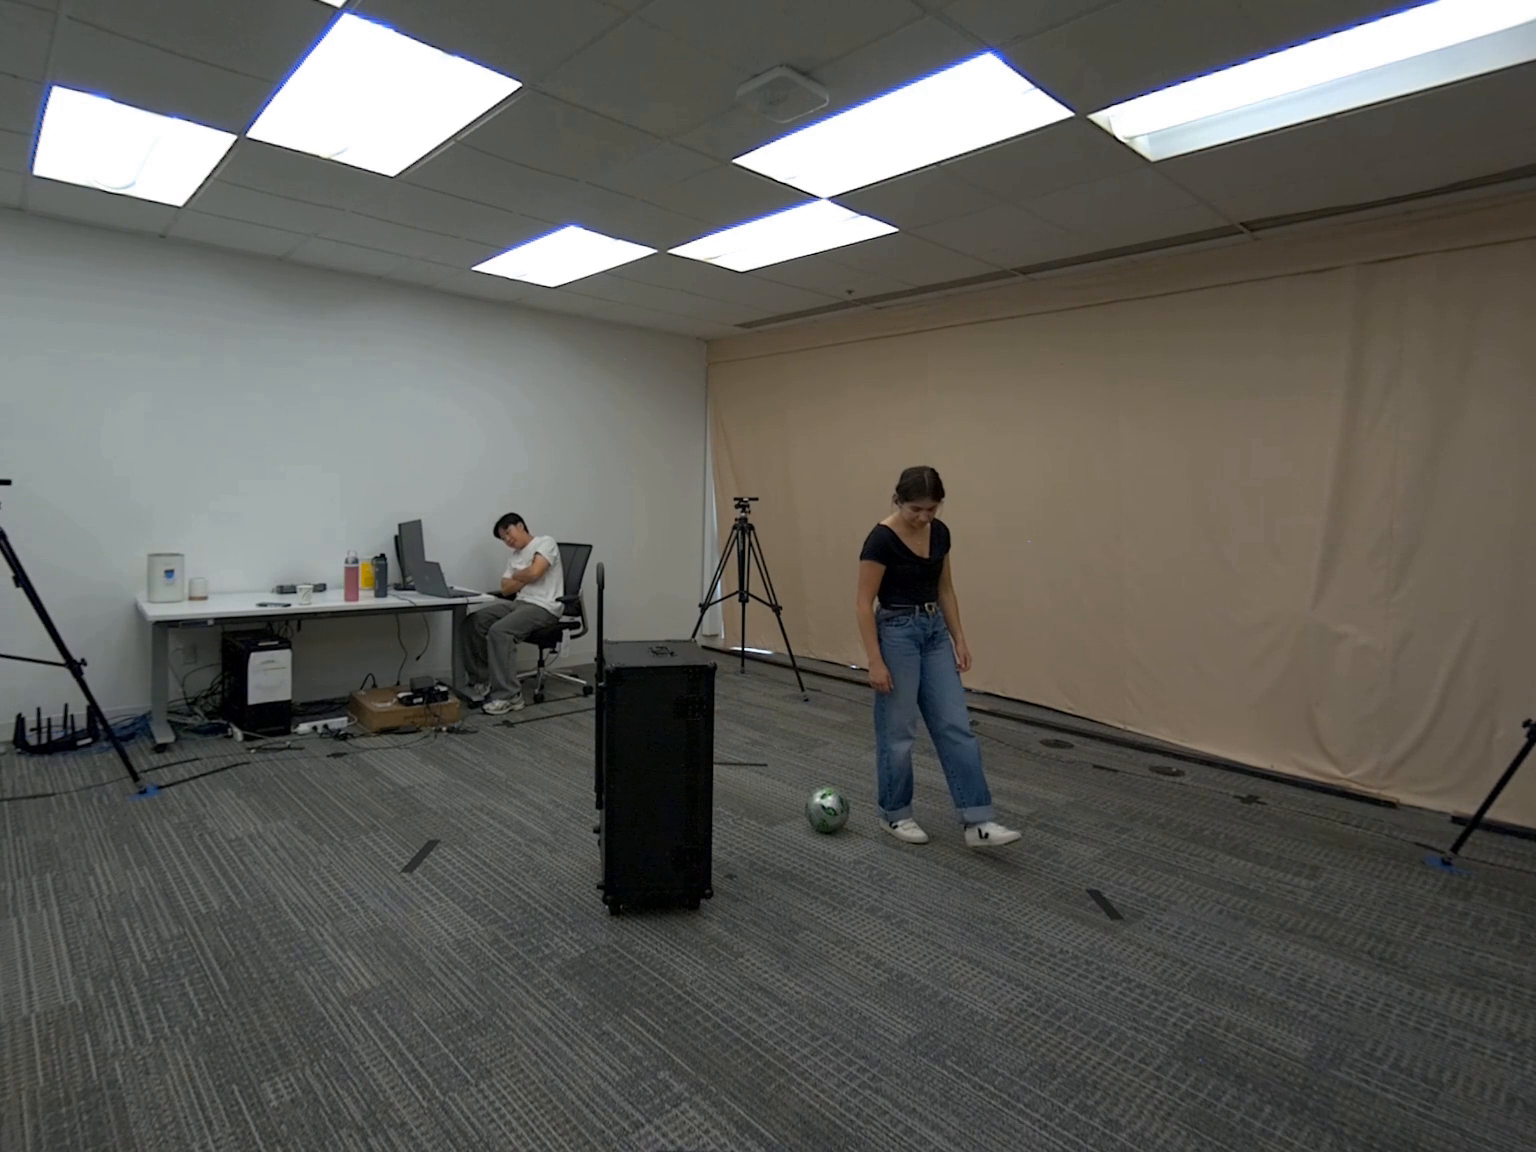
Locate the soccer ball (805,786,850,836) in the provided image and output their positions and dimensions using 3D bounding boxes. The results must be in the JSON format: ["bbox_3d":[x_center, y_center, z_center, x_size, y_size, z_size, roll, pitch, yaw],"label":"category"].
[{"bbox_3d":[0.242,0.981,3.556,0.187,0.187,0.188,1,4,-1],"label":"soccer ball"}]
